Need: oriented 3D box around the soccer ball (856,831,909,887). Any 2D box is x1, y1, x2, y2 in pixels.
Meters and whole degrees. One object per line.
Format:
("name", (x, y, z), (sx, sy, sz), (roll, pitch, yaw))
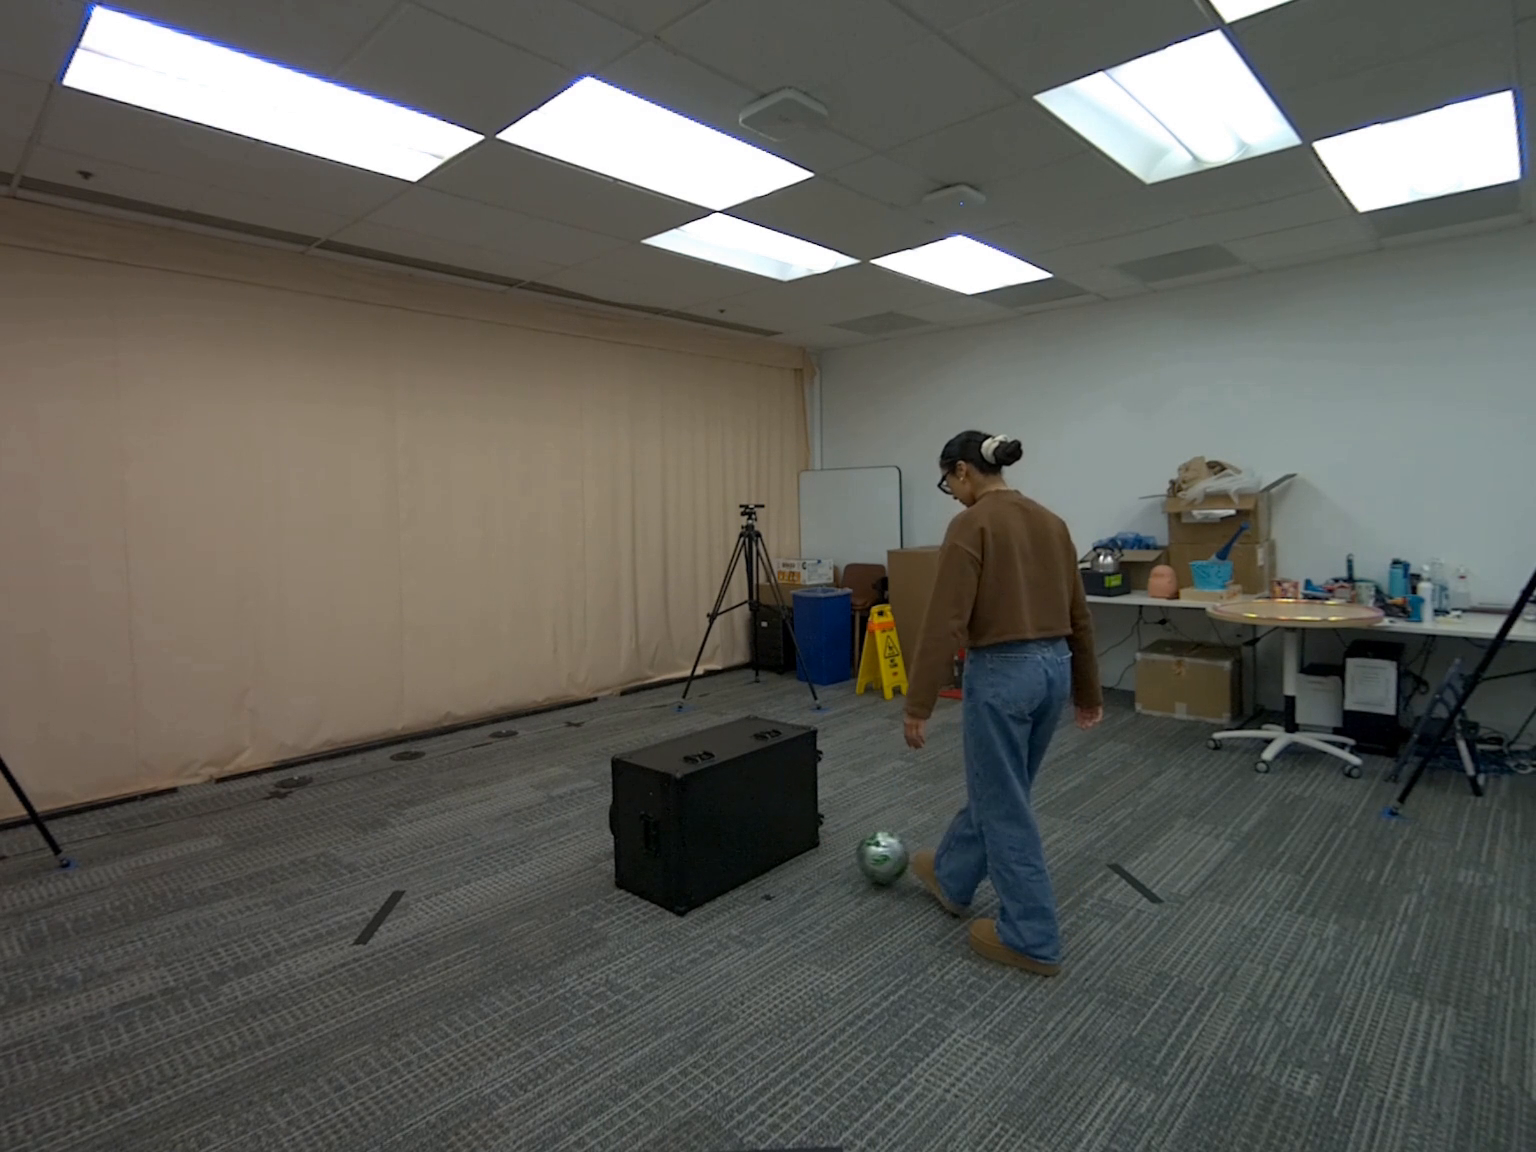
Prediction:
("soccer ball", (0.433, 1.021, 3.057), (0.187, 0.187, 0.188), (-1, 4, -2))
